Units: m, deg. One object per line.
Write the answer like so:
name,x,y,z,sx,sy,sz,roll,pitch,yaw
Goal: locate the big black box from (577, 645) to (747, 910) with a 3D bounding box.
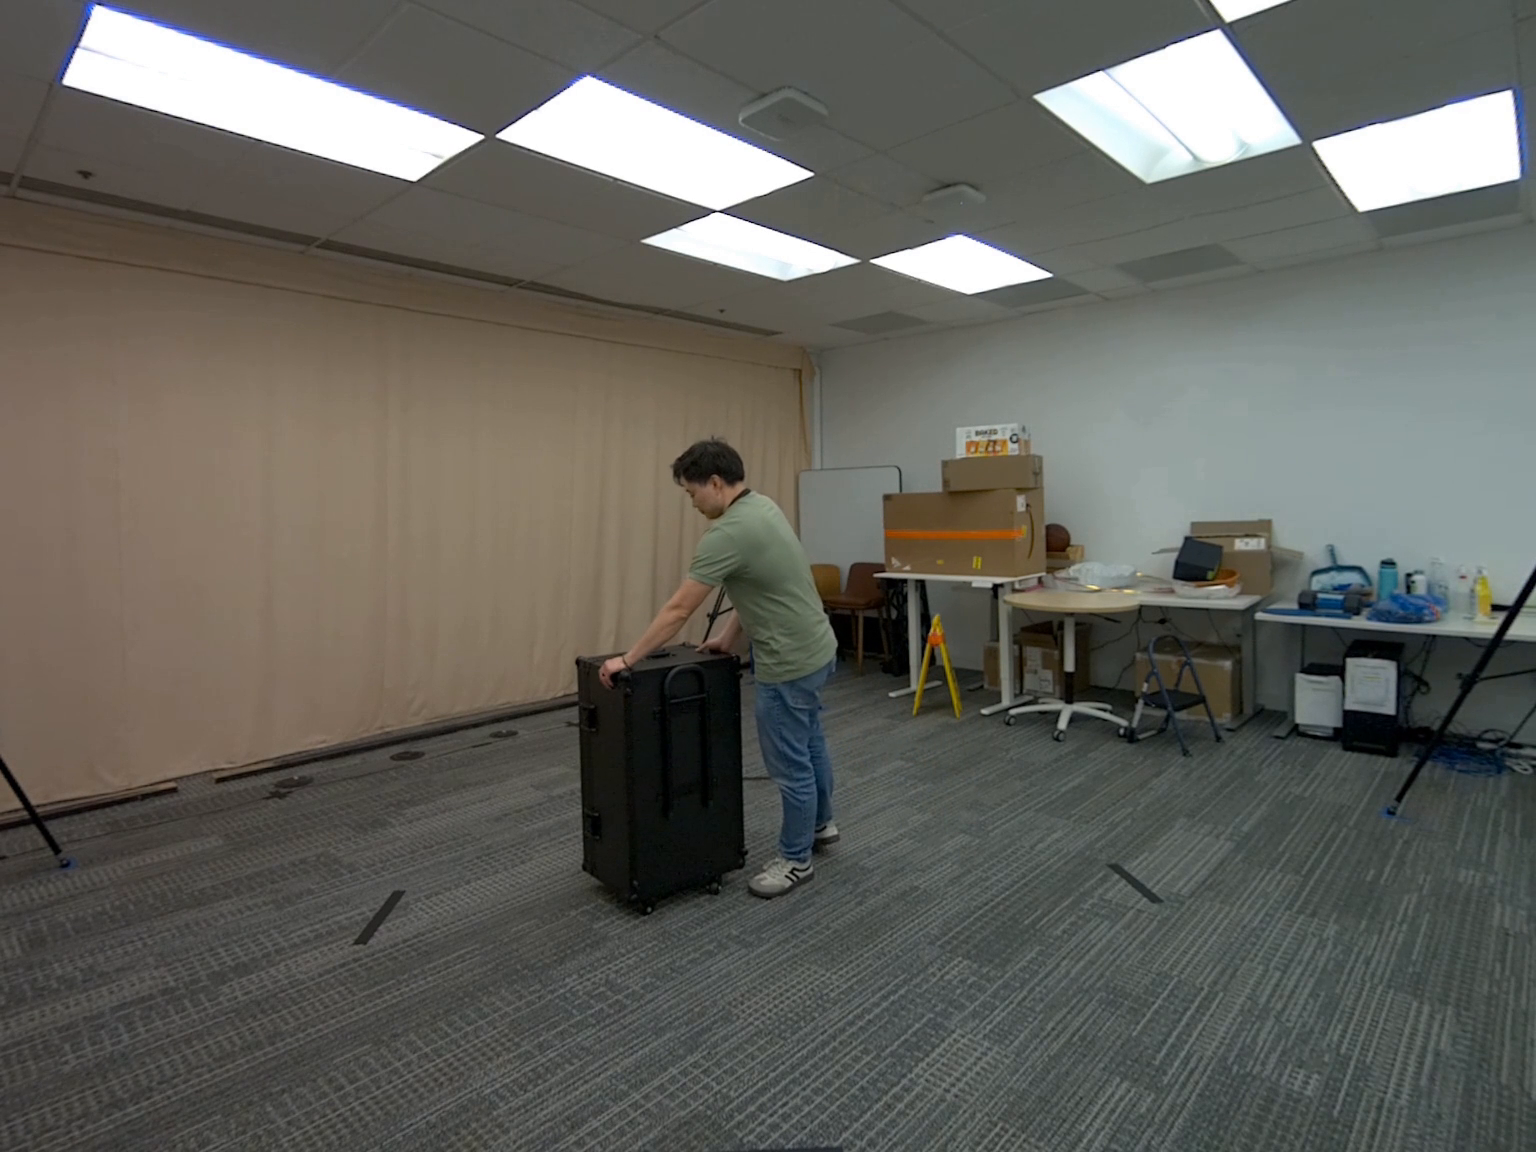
big black box,-0.380,0.717,3.055,0.506,0.860,0.409,-3,3,-36
